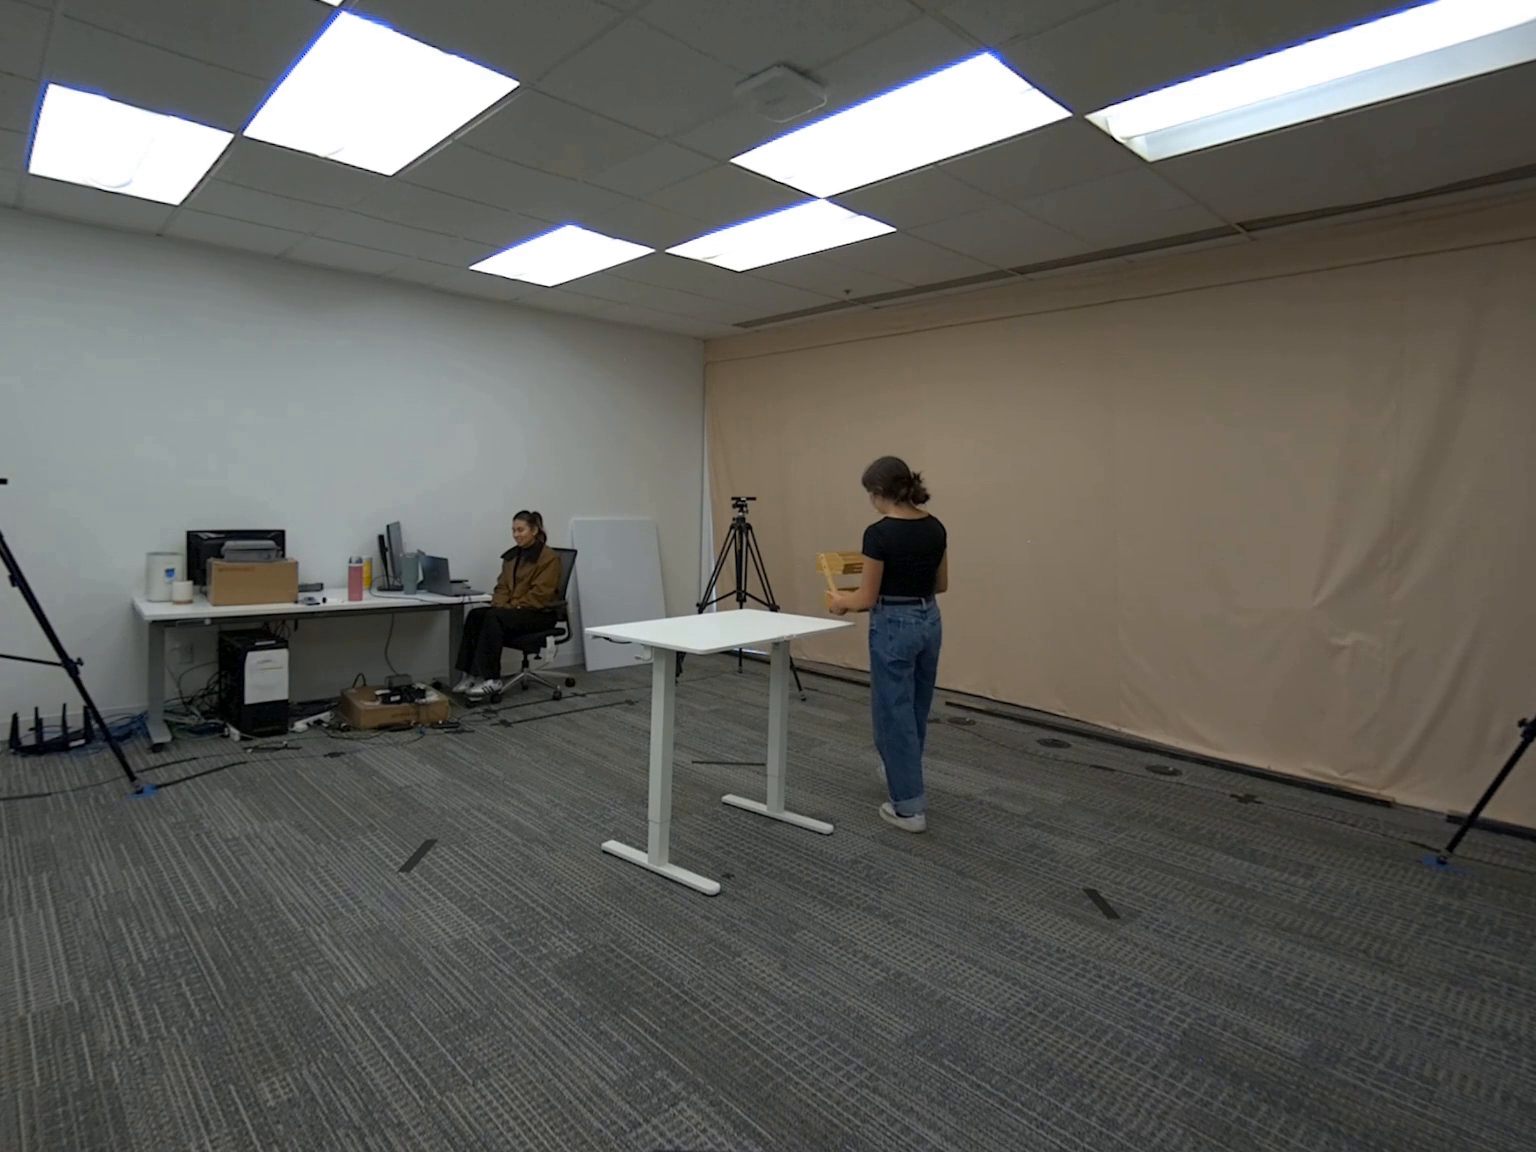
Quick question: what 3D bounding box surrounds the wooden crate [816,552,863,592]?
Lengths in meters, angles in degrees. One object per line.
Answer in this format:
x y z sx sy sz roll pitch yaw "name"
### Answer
0.427 0.018 3.861 0.317 0.273 0.309 -2 2 -34 "wooden crate"
